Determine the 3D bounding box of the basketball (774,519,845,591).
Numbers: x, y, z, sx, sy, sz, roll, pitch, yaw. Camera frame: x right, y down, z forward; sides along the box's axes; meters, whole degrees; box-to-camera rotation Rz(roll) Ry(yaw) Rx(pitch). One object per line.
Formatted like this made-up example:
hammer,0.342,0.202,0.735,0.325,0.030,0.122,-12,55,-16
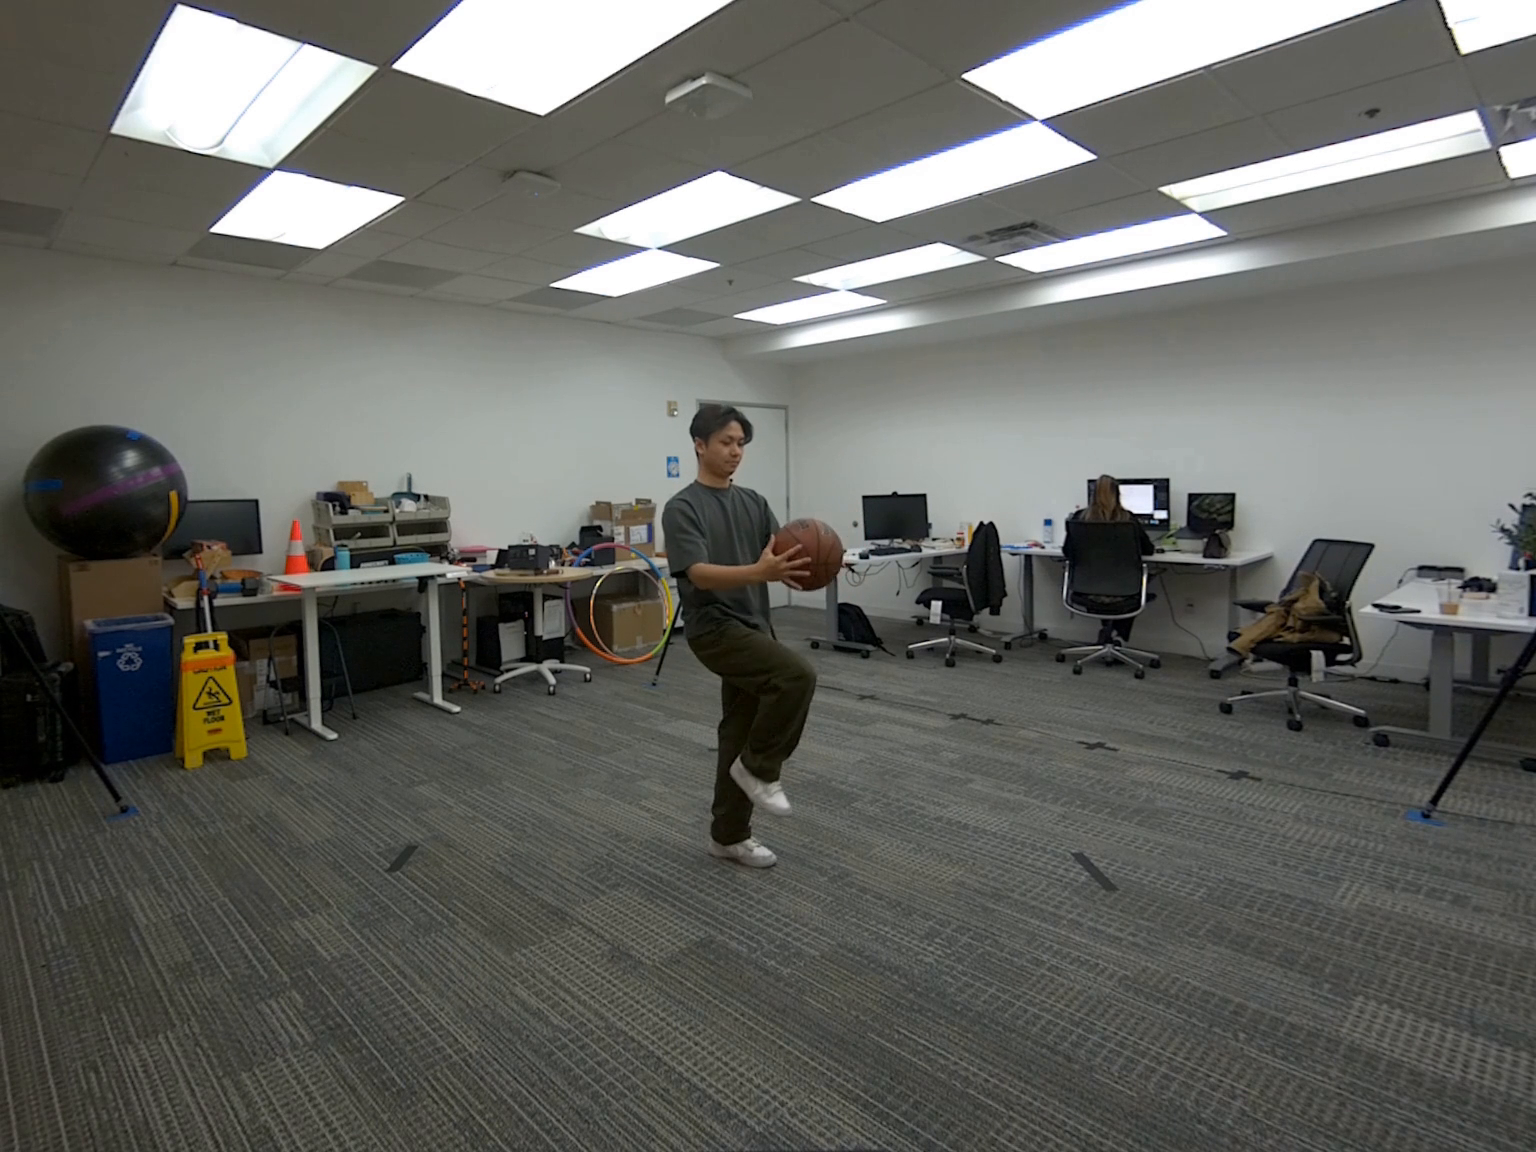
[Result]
basketball,0.127,-0.061,2.772,0.236,0.235,0.237,-1,5,-2
